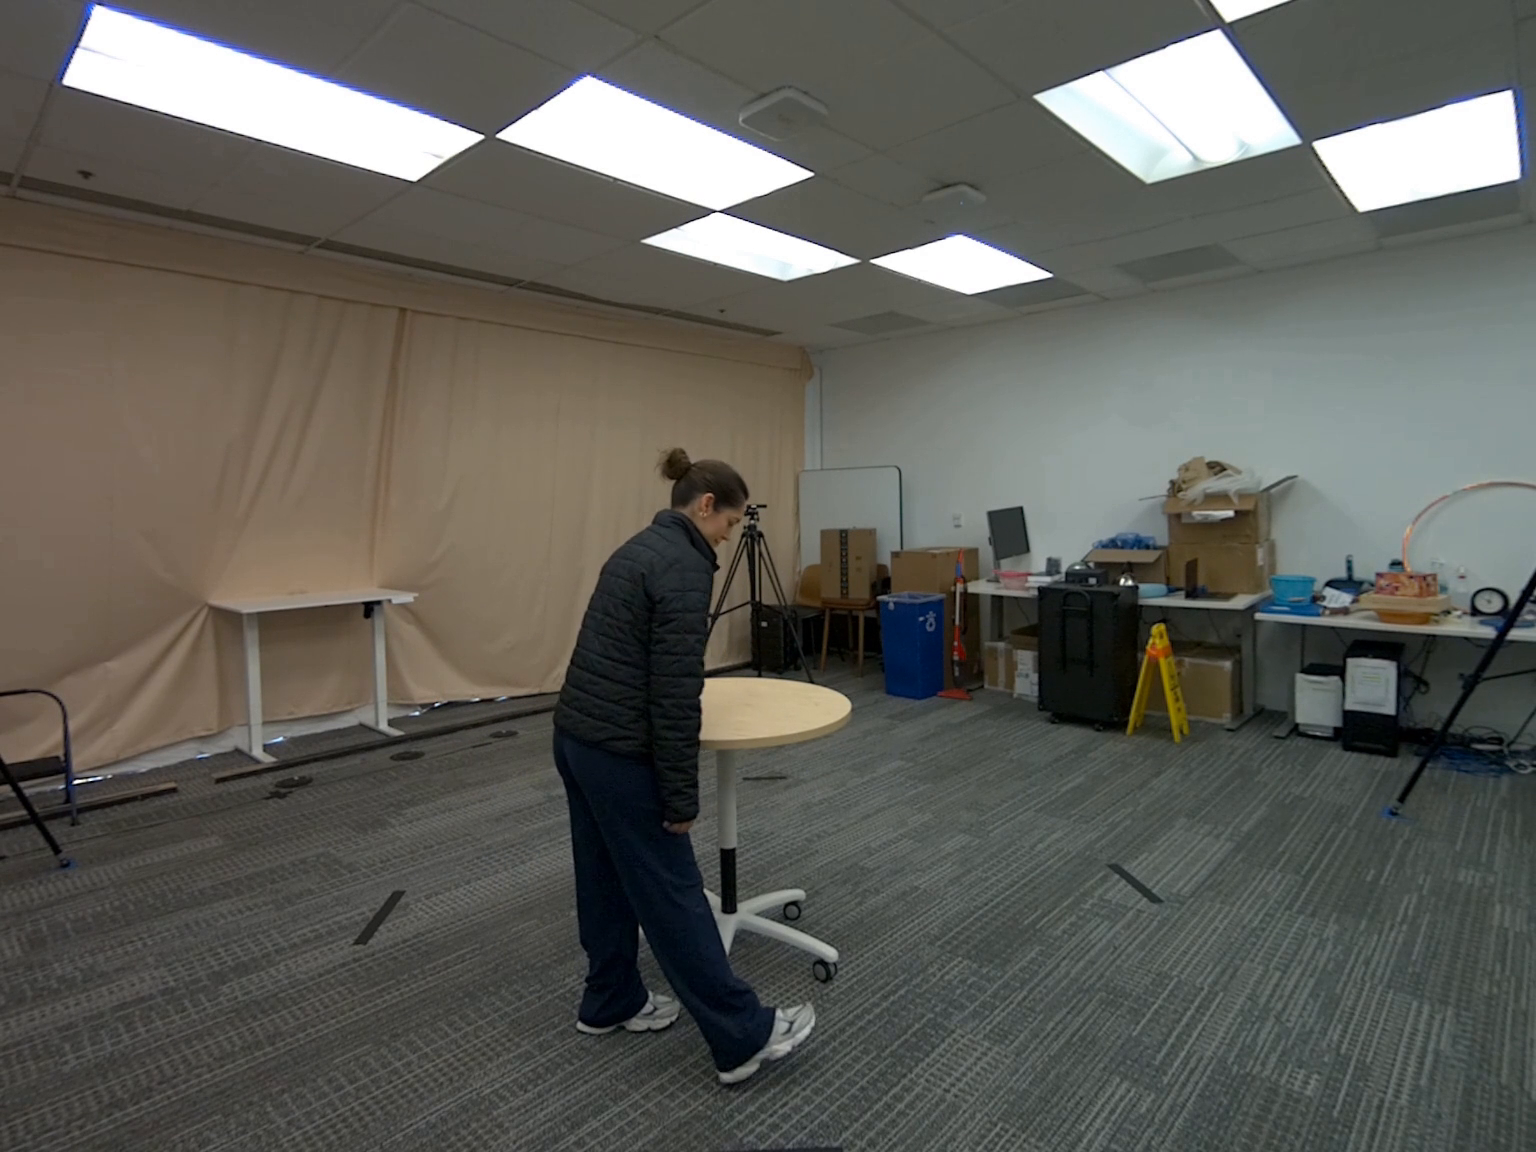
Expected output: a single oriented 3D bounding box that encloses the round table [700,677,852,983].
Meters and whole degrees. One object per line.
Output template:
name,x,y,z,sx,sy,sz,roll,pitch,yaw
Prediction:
round table,-0.093,0.782,2.601,0.784,0.784,0.788,-2,4,-2
